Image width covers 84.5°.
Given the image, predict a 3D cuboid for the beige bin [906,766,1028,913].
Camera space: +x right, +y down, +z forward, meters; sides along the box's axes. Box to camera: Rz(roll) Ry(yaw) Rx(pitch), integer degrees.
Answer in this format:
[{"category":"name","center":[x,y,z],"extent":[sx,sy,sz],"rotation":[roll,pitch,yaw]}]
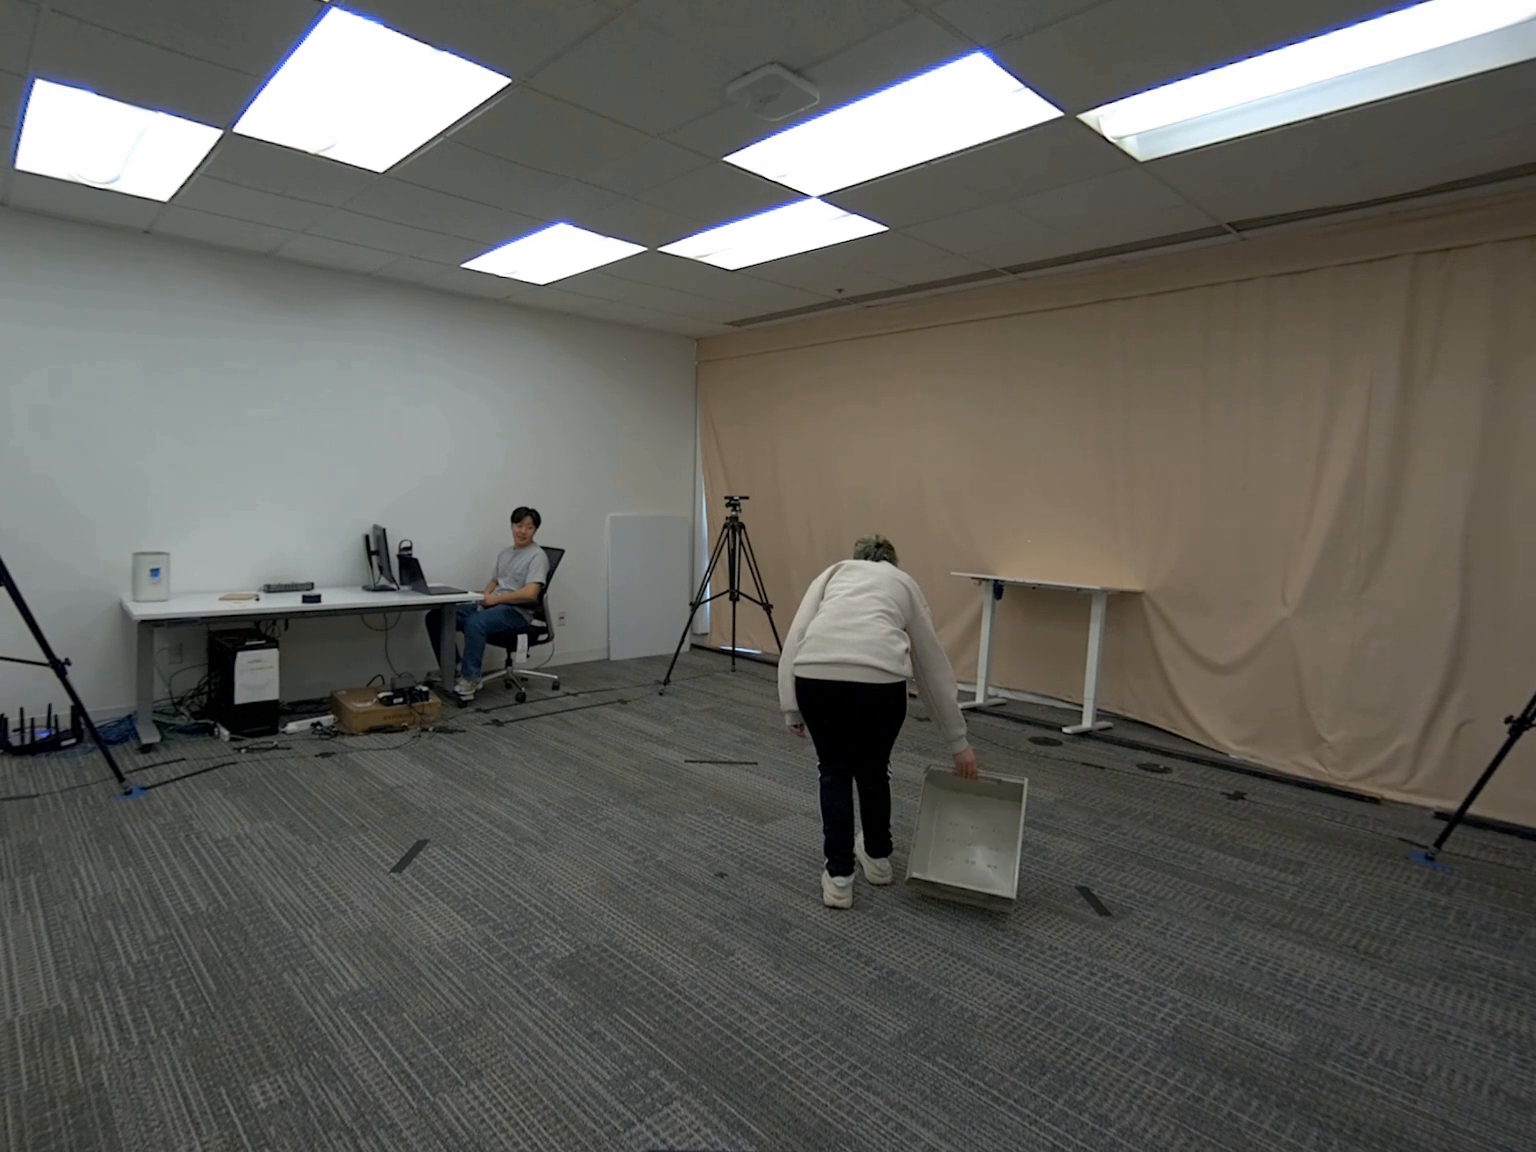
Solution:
[{"category":"beige bin","center":[0.698,0.916,2.984],"extent":[0.384,0.427,0.183],"rotation":[3,-38,22]}]
